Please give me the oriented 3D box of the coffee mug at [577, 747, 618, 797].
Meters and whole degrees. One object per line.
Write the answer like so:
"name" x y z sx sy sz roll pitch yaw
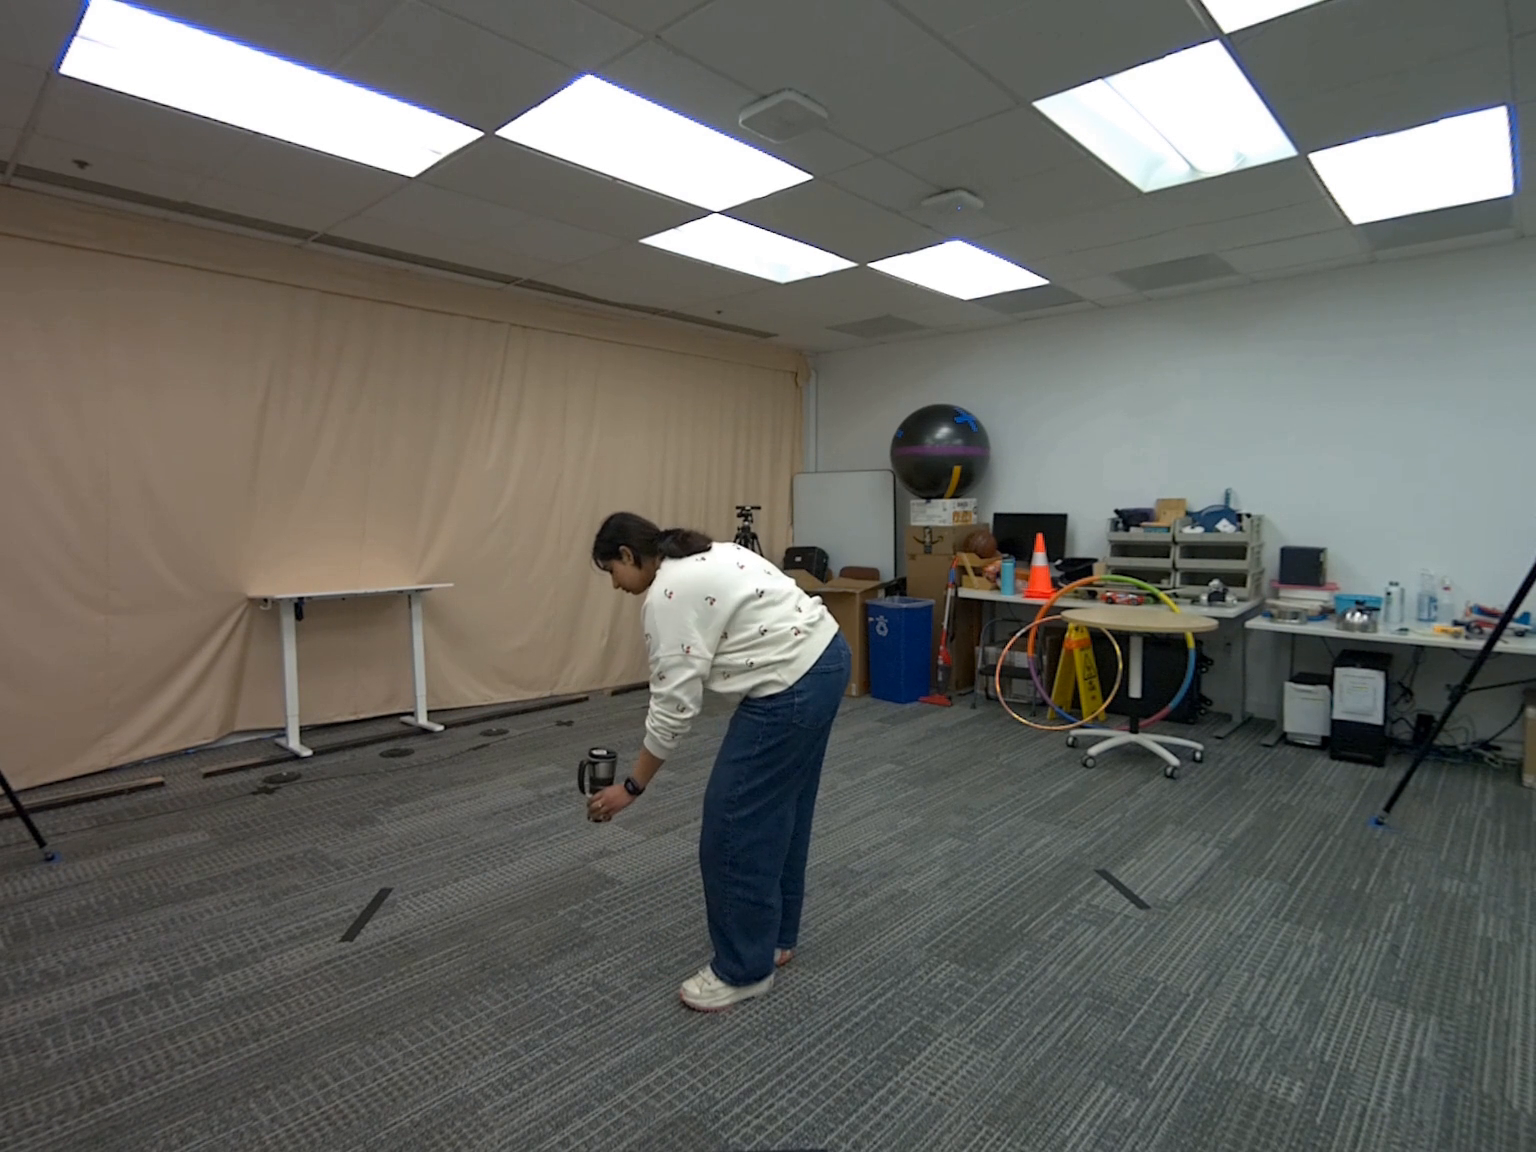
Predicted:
"coffee mug" -0.504 0.626 2.469 0.118 0.203 0.091 4 2 -39
